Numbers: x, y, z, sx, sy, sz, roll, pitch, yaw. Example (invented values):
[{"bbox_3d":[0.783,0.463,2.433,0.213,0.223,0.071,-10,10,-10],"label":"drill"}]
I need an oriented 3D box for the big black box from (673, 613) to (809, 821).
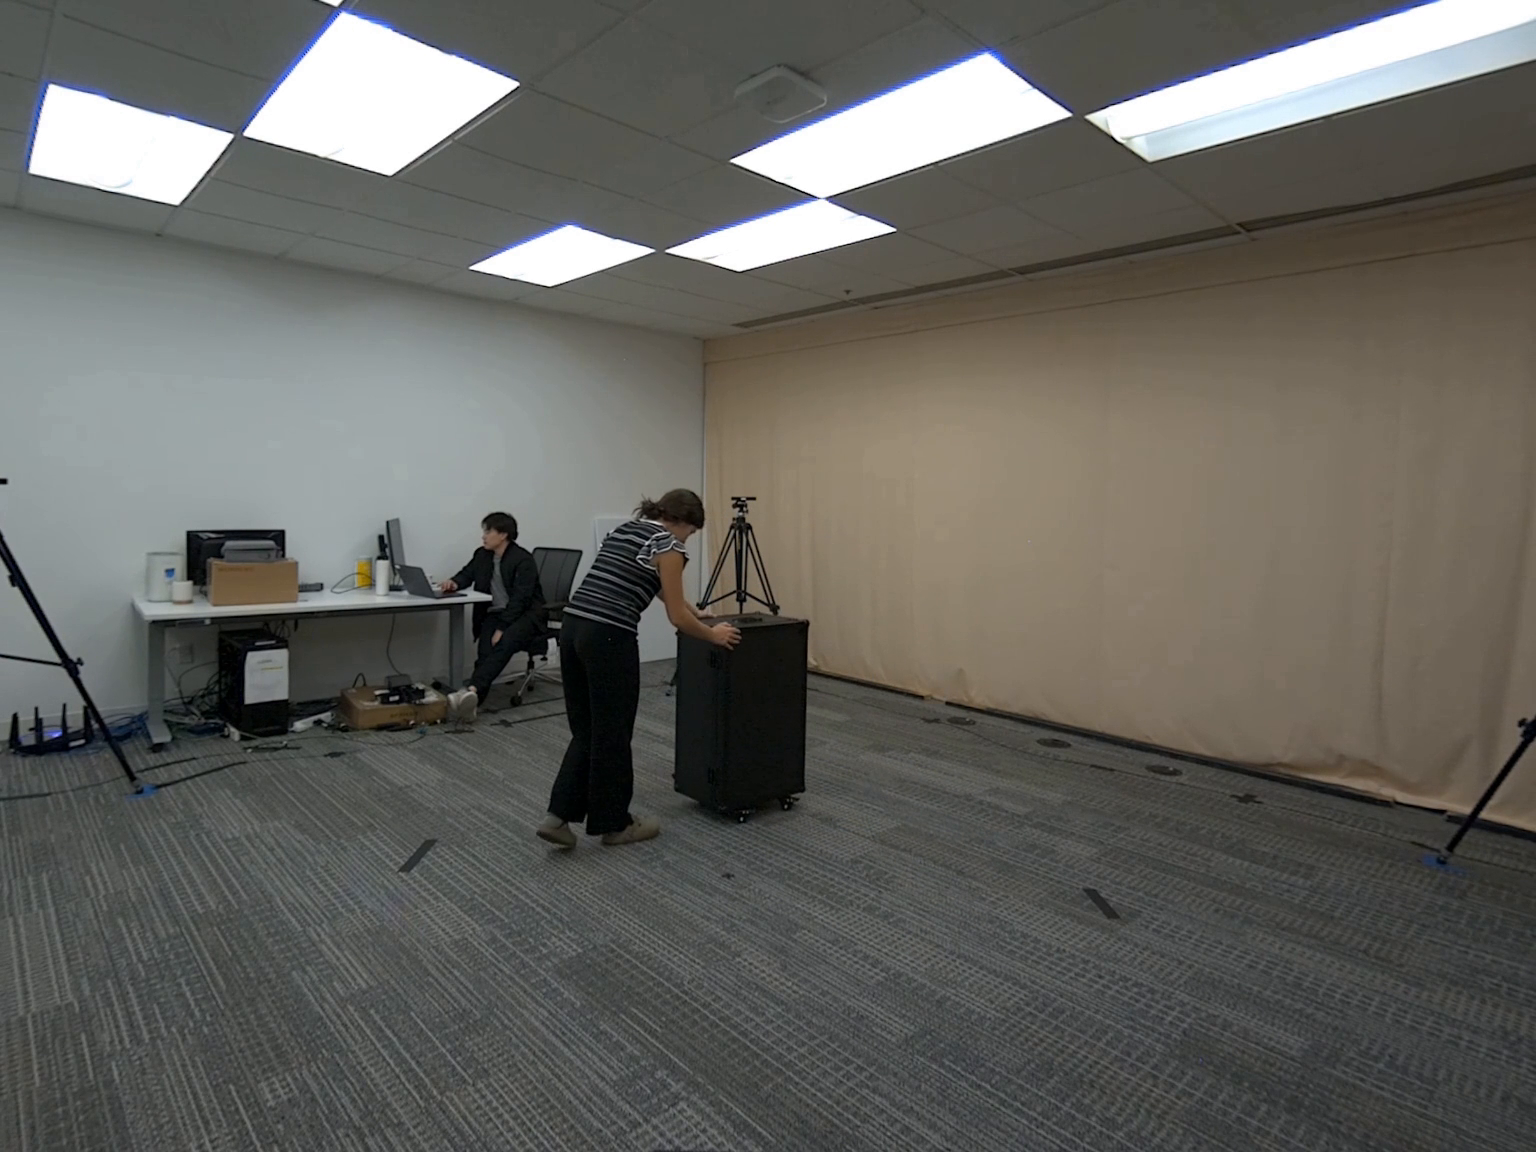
[{"bbox_3d":[-0.137,0.623,3.805,0.509,0.860,0.406,-2,3,-40],"label":"big black box"}]
